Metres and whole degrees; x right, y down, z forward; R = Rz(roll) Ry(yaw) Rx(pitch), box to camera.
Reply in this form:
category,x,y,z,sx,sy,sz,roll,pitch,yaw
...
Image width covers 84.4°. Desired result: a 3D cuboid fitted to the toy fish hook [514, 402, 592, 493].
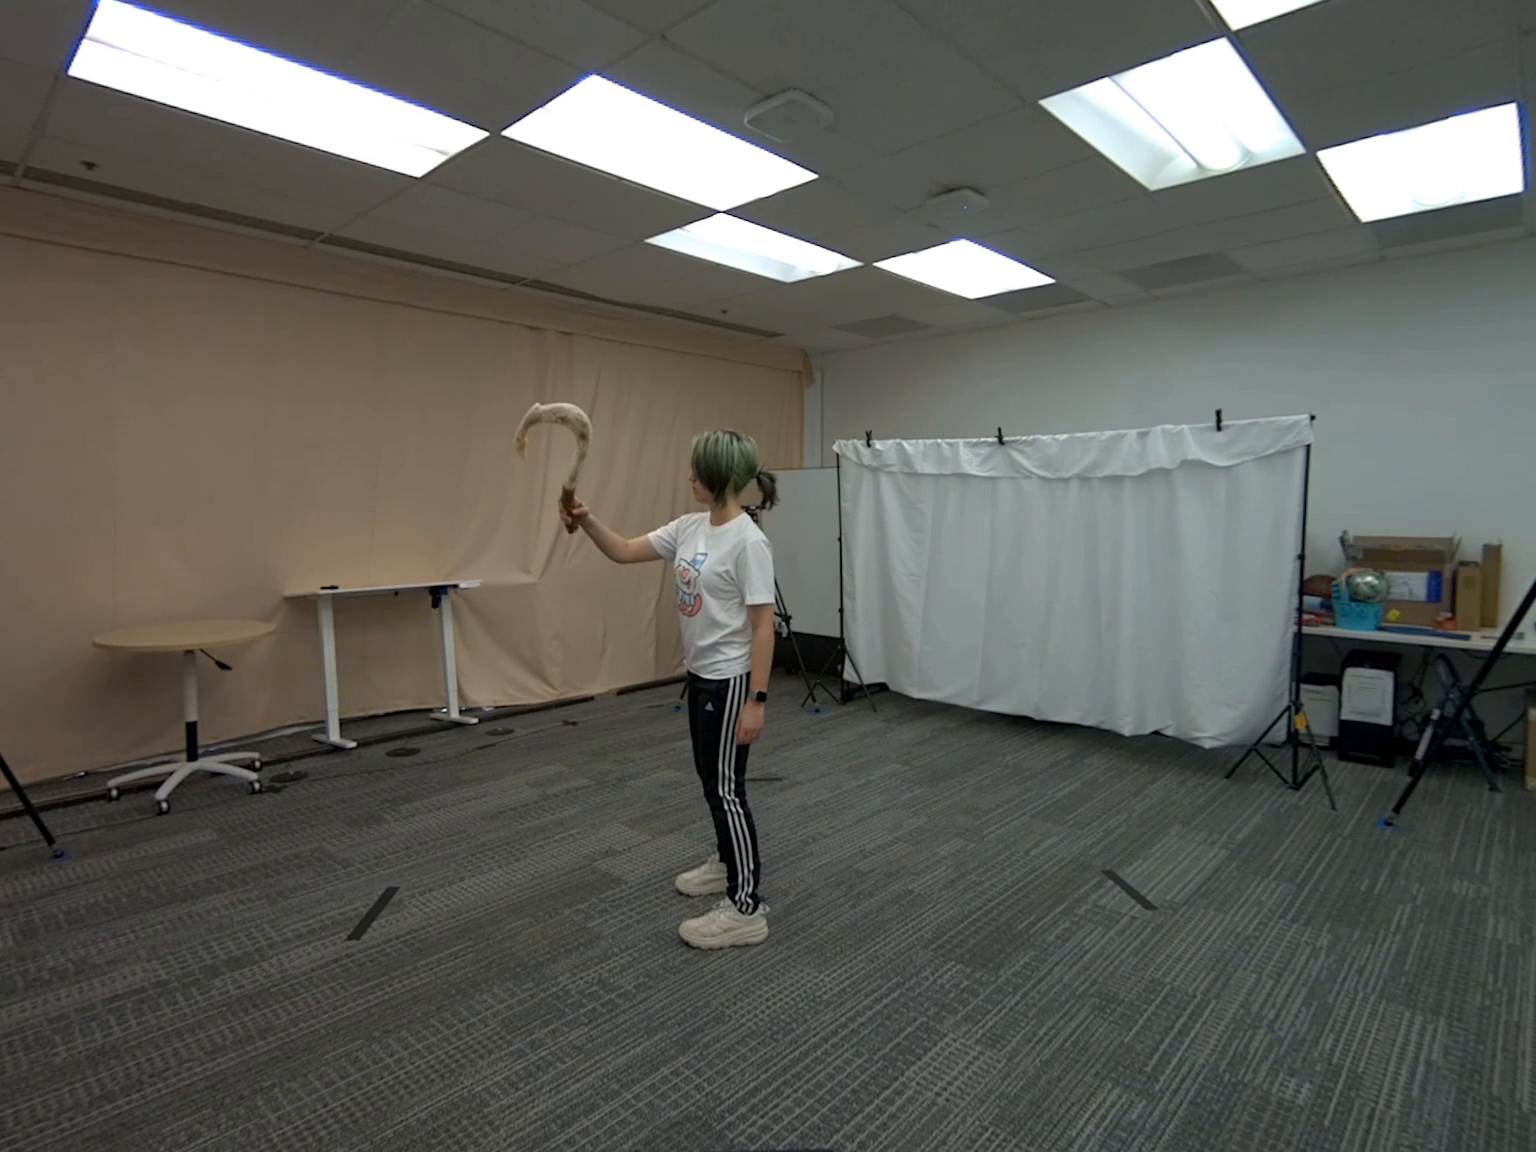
category,x,y,z,sx,sy,sz,roll,pitch,yaw
toy fish hook,-0.661,-0.290,2.532,0.222,0.499,0.049,-2,45,-11
